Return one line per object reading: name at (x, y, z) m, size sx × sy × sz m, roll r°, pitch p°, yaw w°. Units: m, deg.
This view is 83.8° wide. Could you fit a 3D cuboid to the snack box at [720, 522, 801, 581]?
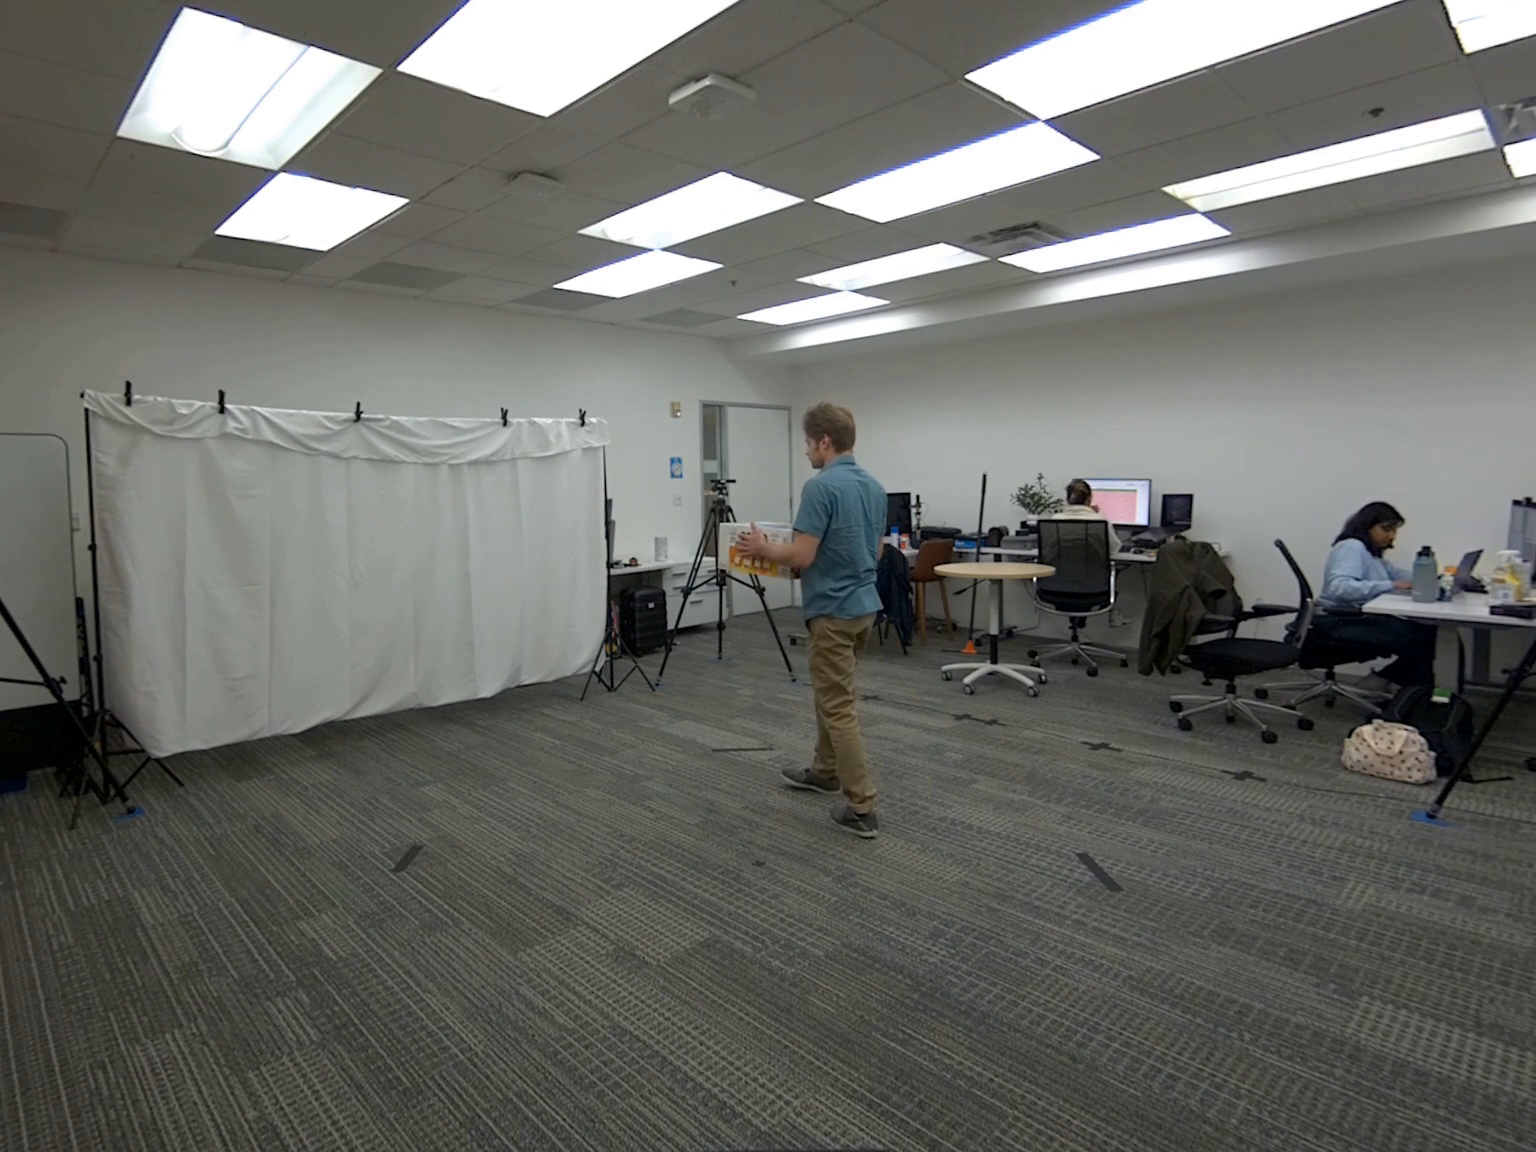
snack box at (0.059, -0.120, 3.742) m, size 0.418 × 0.205 × 0.331 m, roll 8°, pitch 8°, yaw 42°
